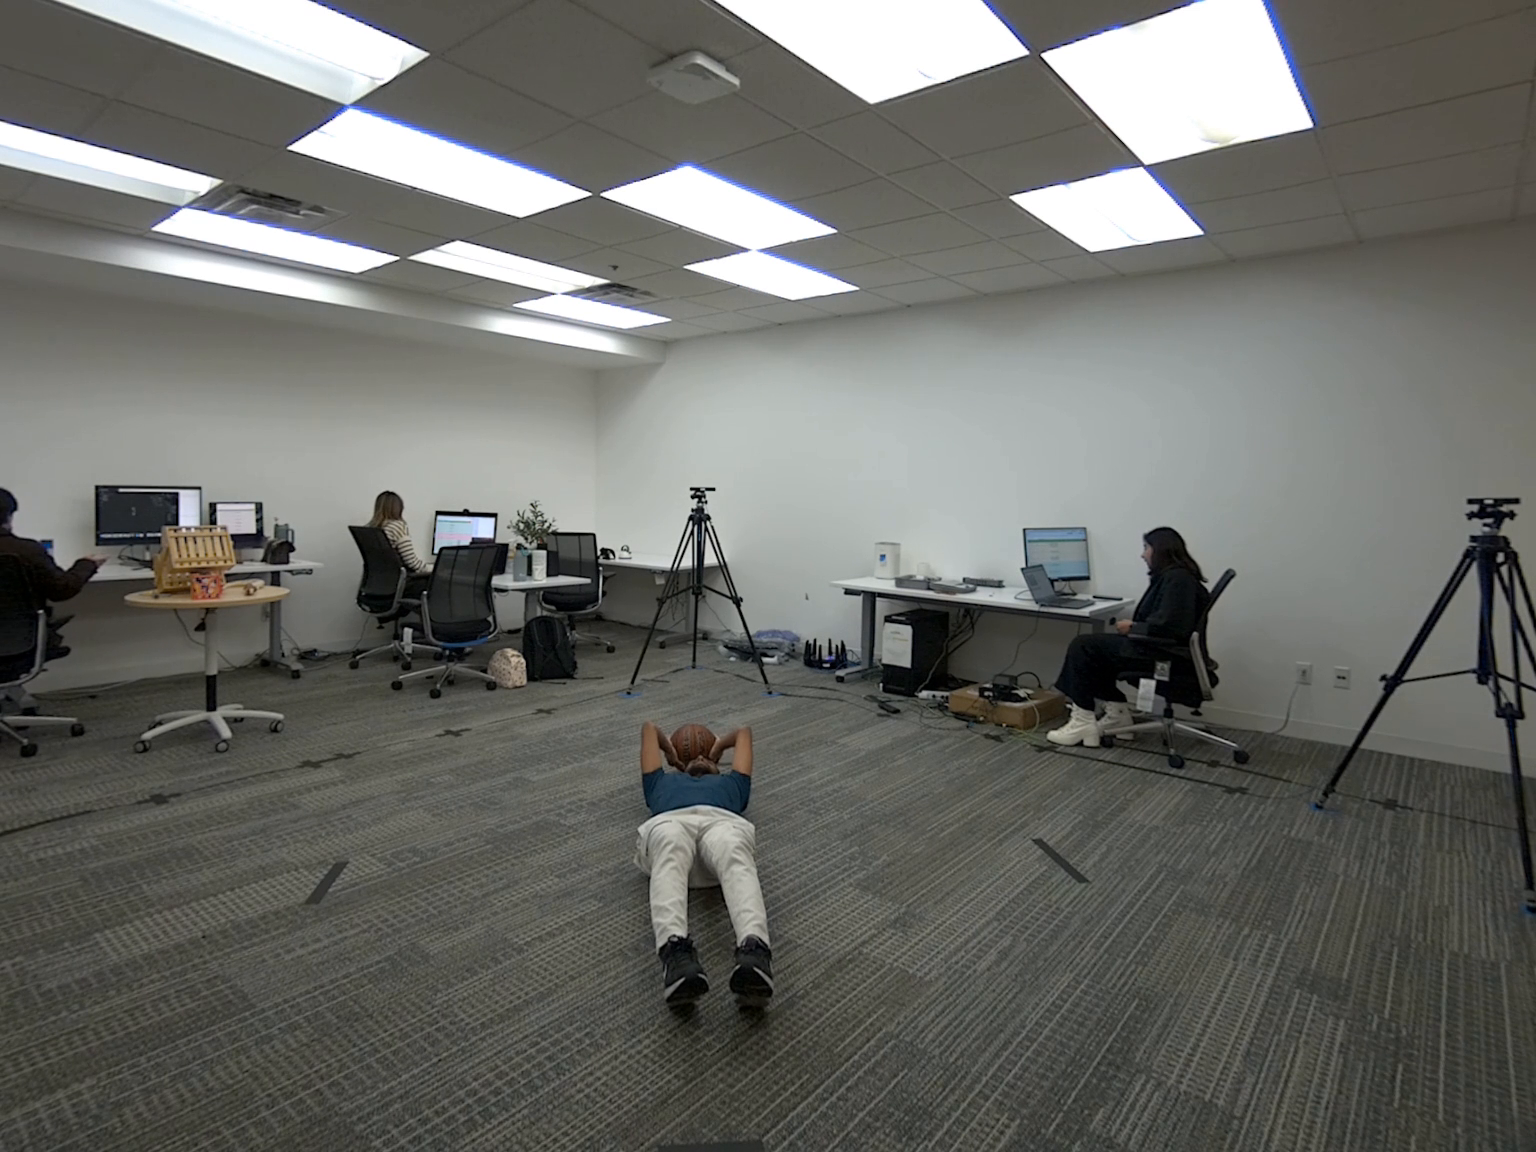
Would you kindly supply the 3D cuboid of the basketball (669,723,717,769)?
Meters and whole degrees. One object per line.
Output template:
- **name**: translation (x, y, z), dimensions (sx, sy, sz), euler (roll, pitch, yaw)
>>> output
- **basketball**: translation (-0.373, 0.824, 4.114), dimensions (0.235, 0.235, 0.237), euler (1, 4, -2)
